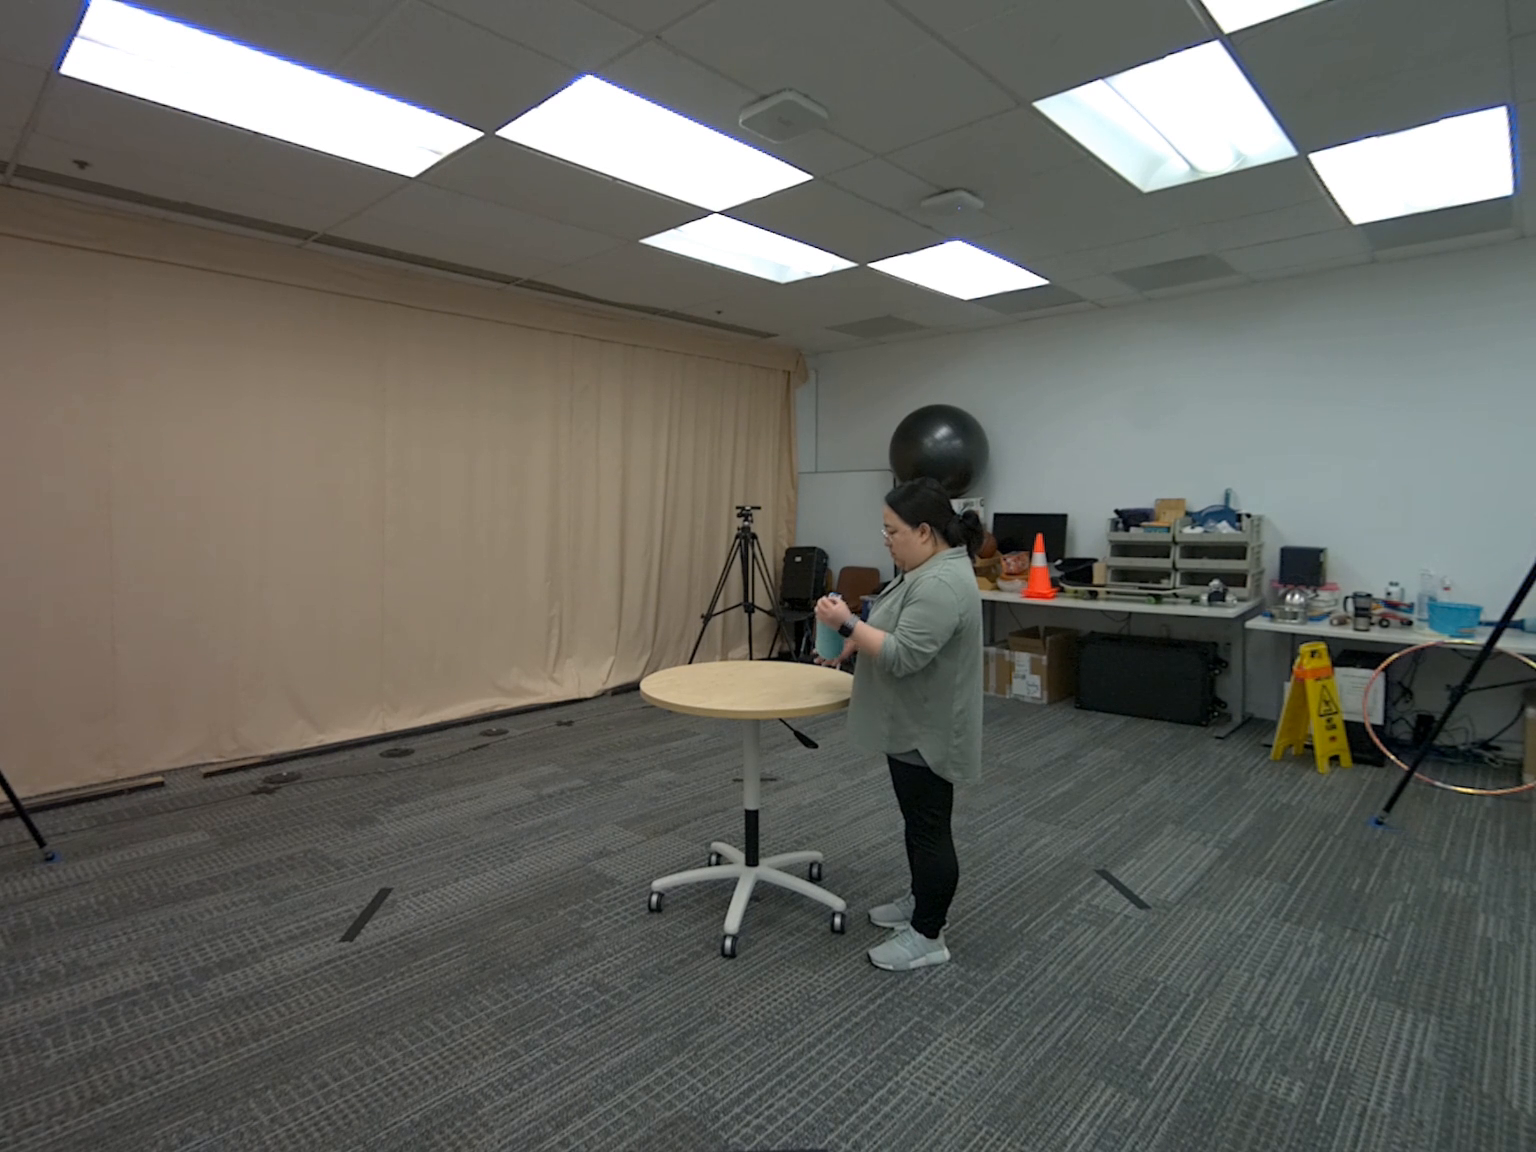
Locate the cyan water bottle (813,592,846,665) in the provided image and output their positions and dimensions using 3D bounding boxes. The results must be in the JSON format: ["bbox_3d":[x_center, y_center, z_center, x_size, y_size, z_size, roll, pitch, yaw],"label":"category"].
[{"bbox_3d":[0.214,0.158,2.601,0.093,0.093,0.277,1,-39,6],"label":"cyan water bottle"}]
